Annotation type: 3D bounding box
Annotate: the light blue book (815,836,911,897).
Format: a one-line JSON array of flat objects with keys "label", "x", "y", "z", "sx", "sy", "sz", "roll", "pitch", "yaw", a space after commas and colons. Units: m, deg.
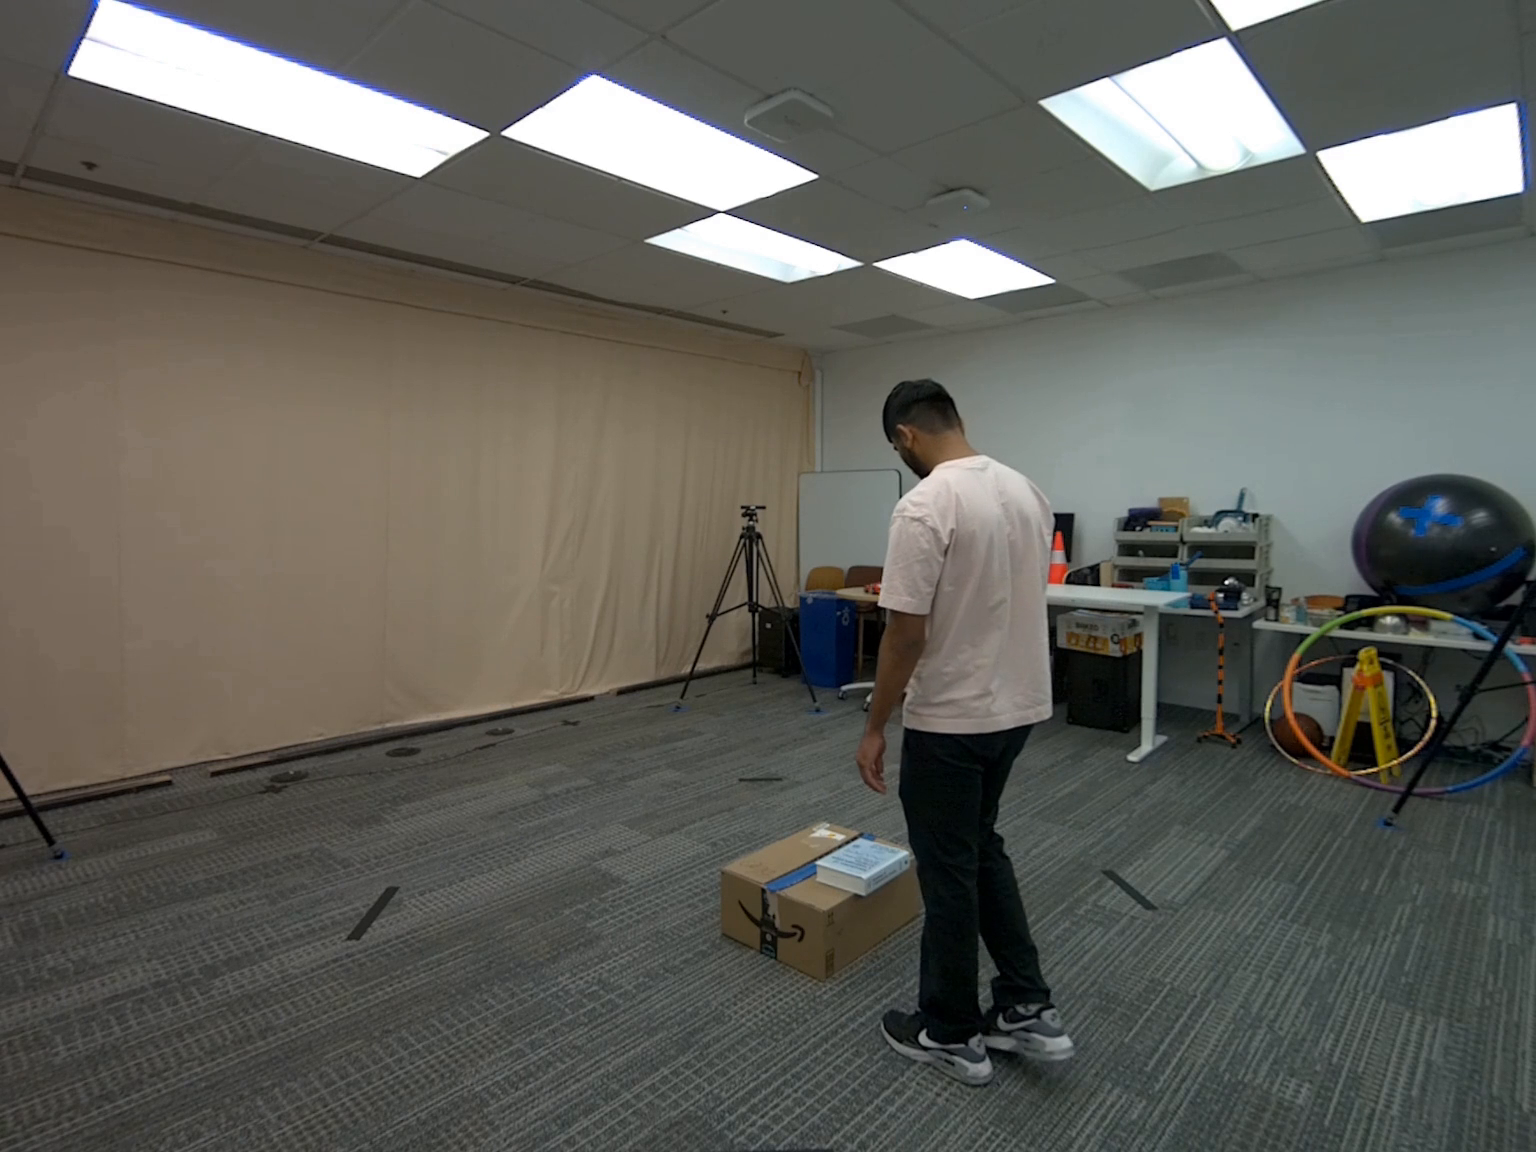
[{"label": "light blue book", "x": 0.301, "y": 0.922, "z": 2.690, "sx": 0.197, "sy": 0.059, "sz": 0.253, "roll": 1, "pitch": 5, "yaw": 41}]
